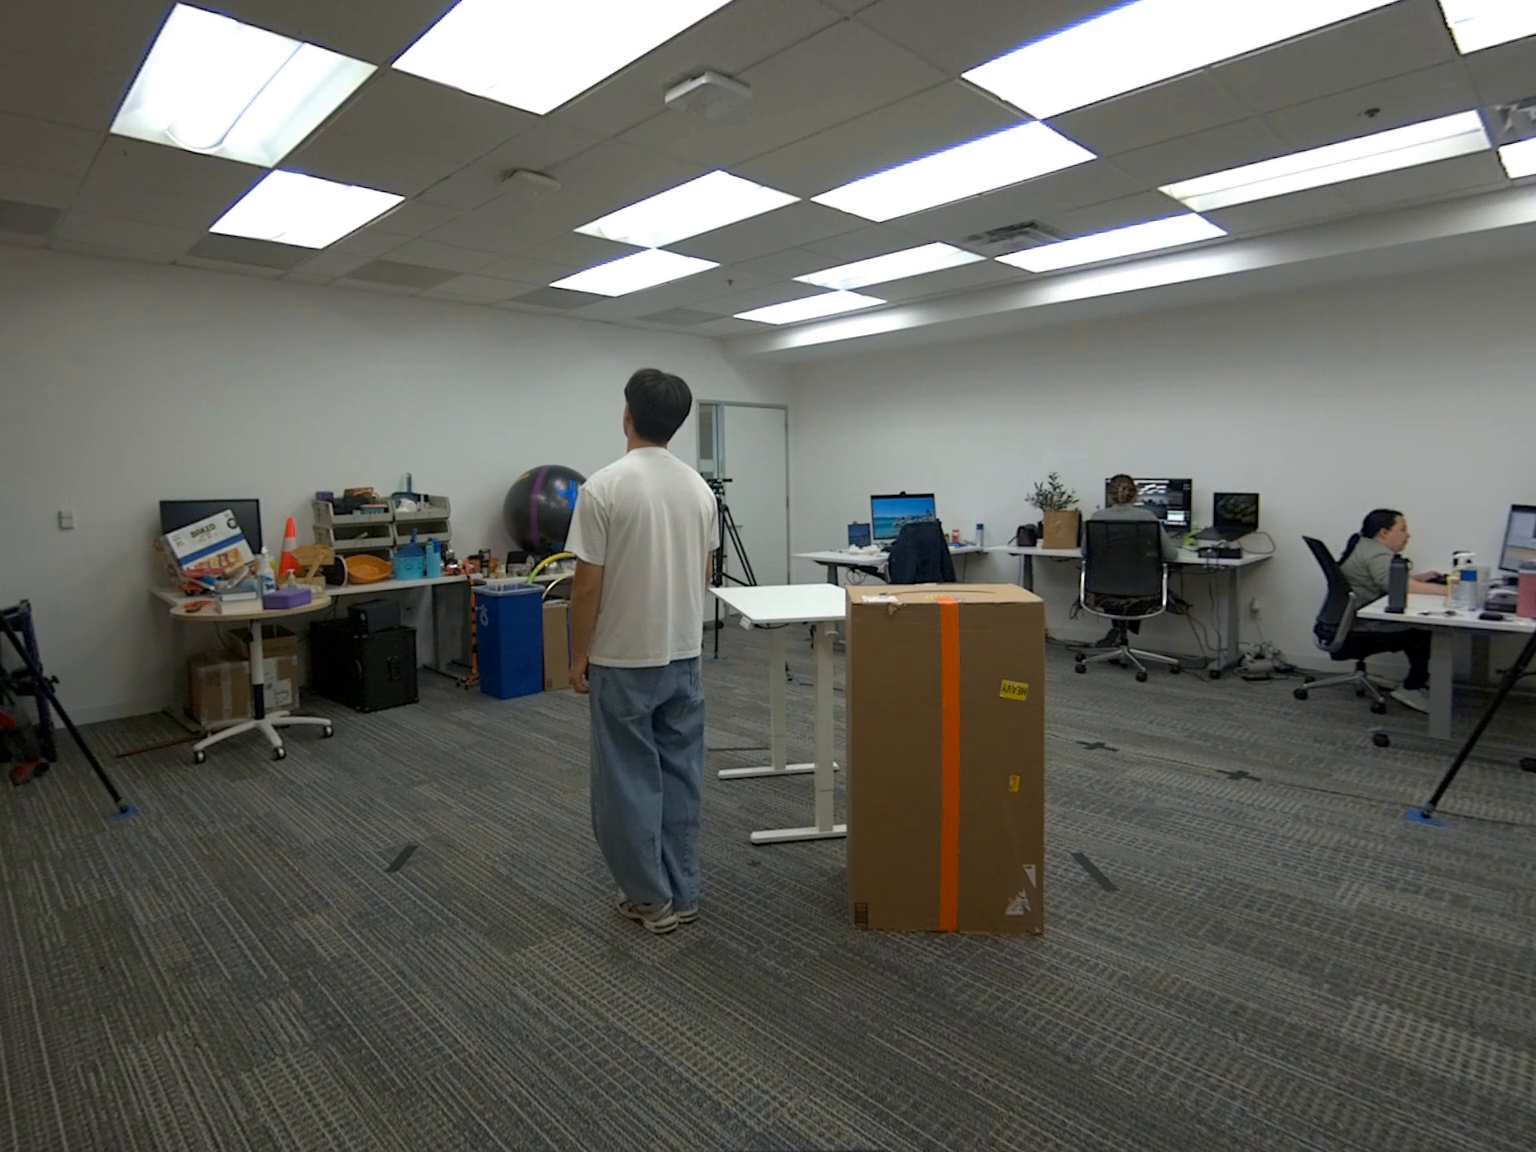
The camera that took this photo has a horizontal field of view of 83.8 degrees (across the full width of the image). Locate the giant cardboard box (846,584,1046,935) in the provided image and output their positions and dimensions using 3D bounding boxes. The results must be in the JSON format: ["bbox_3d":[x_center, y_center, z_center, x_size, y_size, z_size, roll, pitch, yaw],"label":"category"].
[{"bbox_3d":[0.557,0.561,2.789,0.581,1.022,0.425,-1,4,5],"label":"giant cardboard box"}]
